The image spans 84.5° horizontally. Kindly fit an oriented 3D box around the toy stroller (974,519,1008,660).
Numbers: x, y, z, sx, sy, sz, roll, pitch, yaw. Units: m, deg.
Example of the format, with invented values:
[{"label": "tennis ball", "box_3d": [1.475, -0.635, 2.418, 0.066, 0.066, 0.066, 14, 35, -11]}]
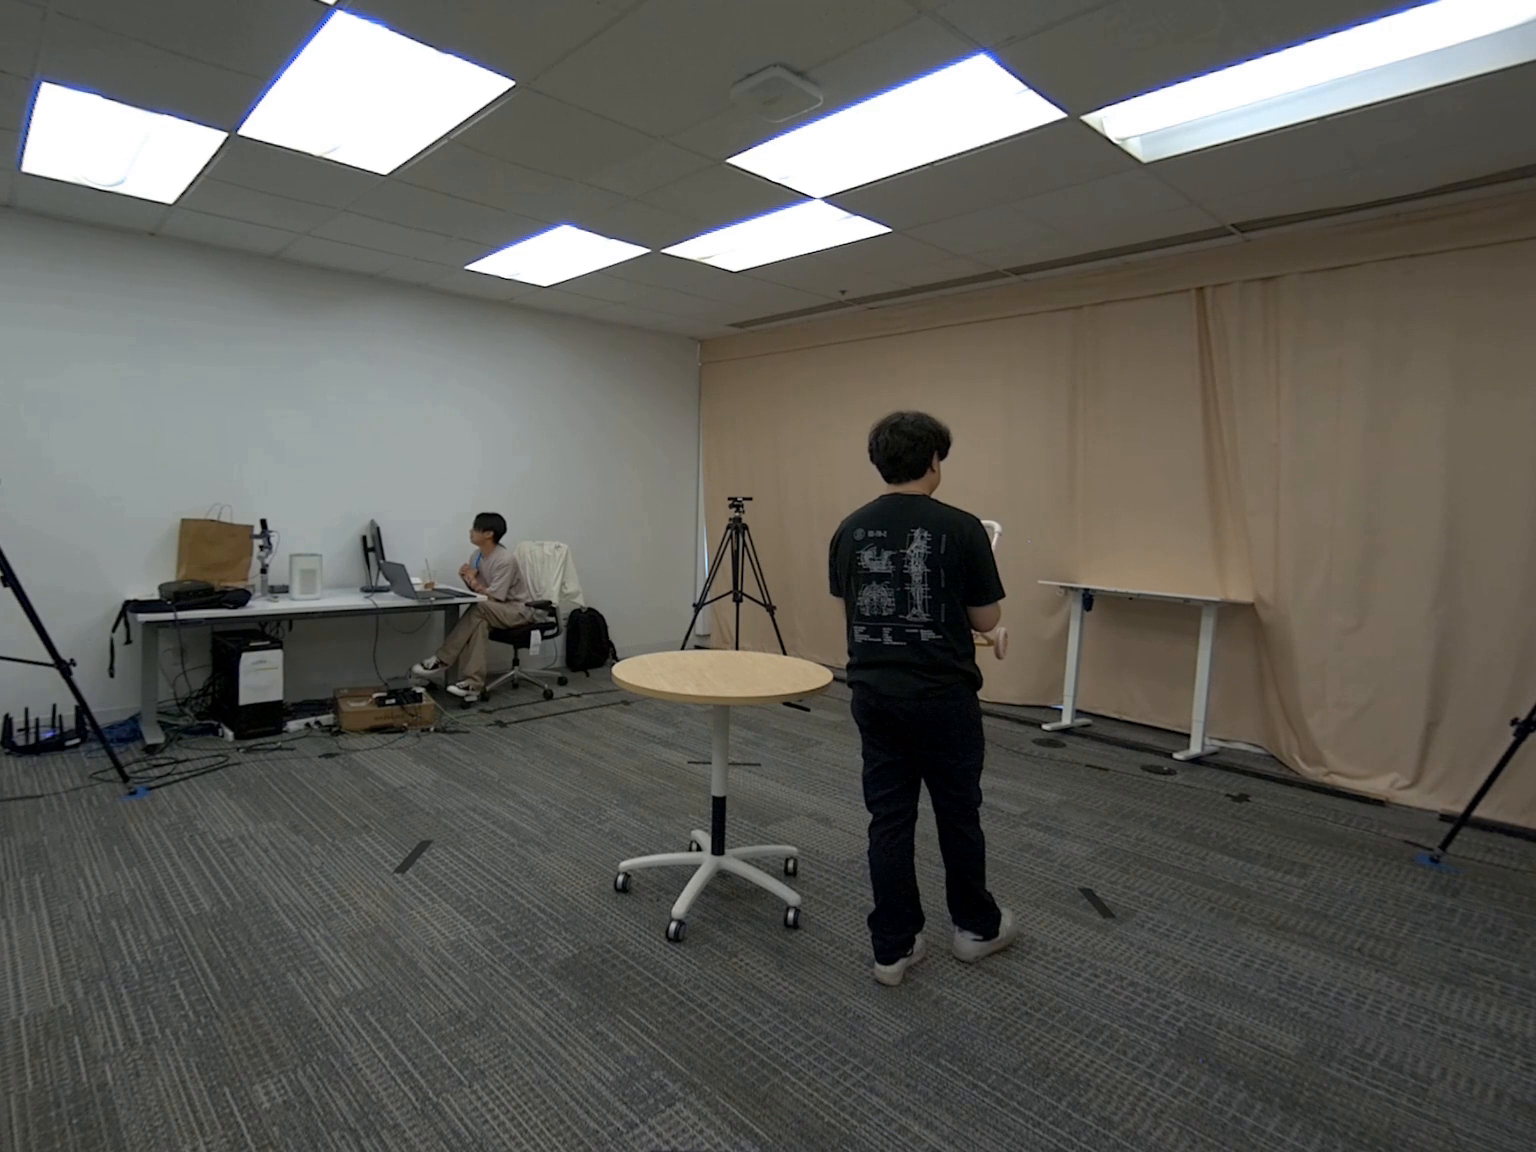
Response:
[{"label": "toy stroller", "box_3d": [0.634, 0.068, 2.824, 0.288, 0.536, 0.332, 2, -4, 36]}]
